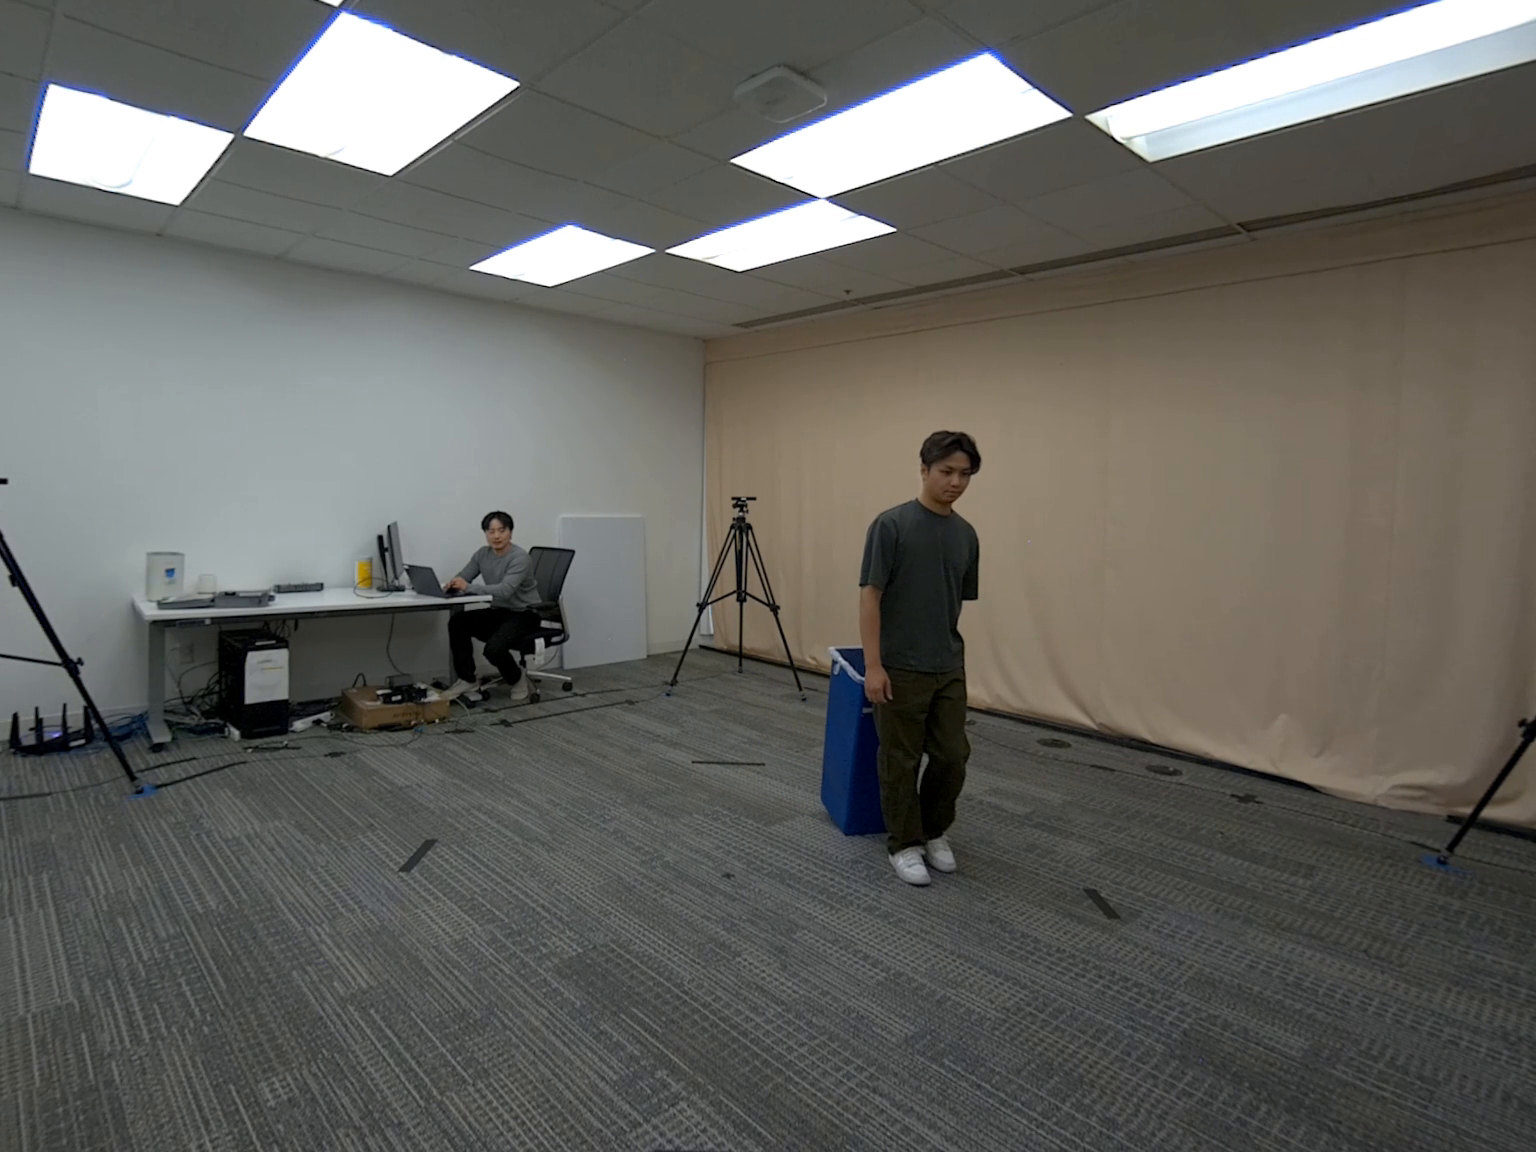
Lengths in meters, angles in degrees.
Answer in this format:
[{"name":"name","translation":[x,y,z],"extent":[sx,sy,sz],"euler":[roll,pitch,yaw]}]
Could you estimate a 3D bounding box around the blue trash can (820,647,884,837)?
[{"name":"blue trash can","translation":[0.448,0.701,3.605],"extent":[0.370,0.706,0.386],"euler":[1,16,-15]}]
